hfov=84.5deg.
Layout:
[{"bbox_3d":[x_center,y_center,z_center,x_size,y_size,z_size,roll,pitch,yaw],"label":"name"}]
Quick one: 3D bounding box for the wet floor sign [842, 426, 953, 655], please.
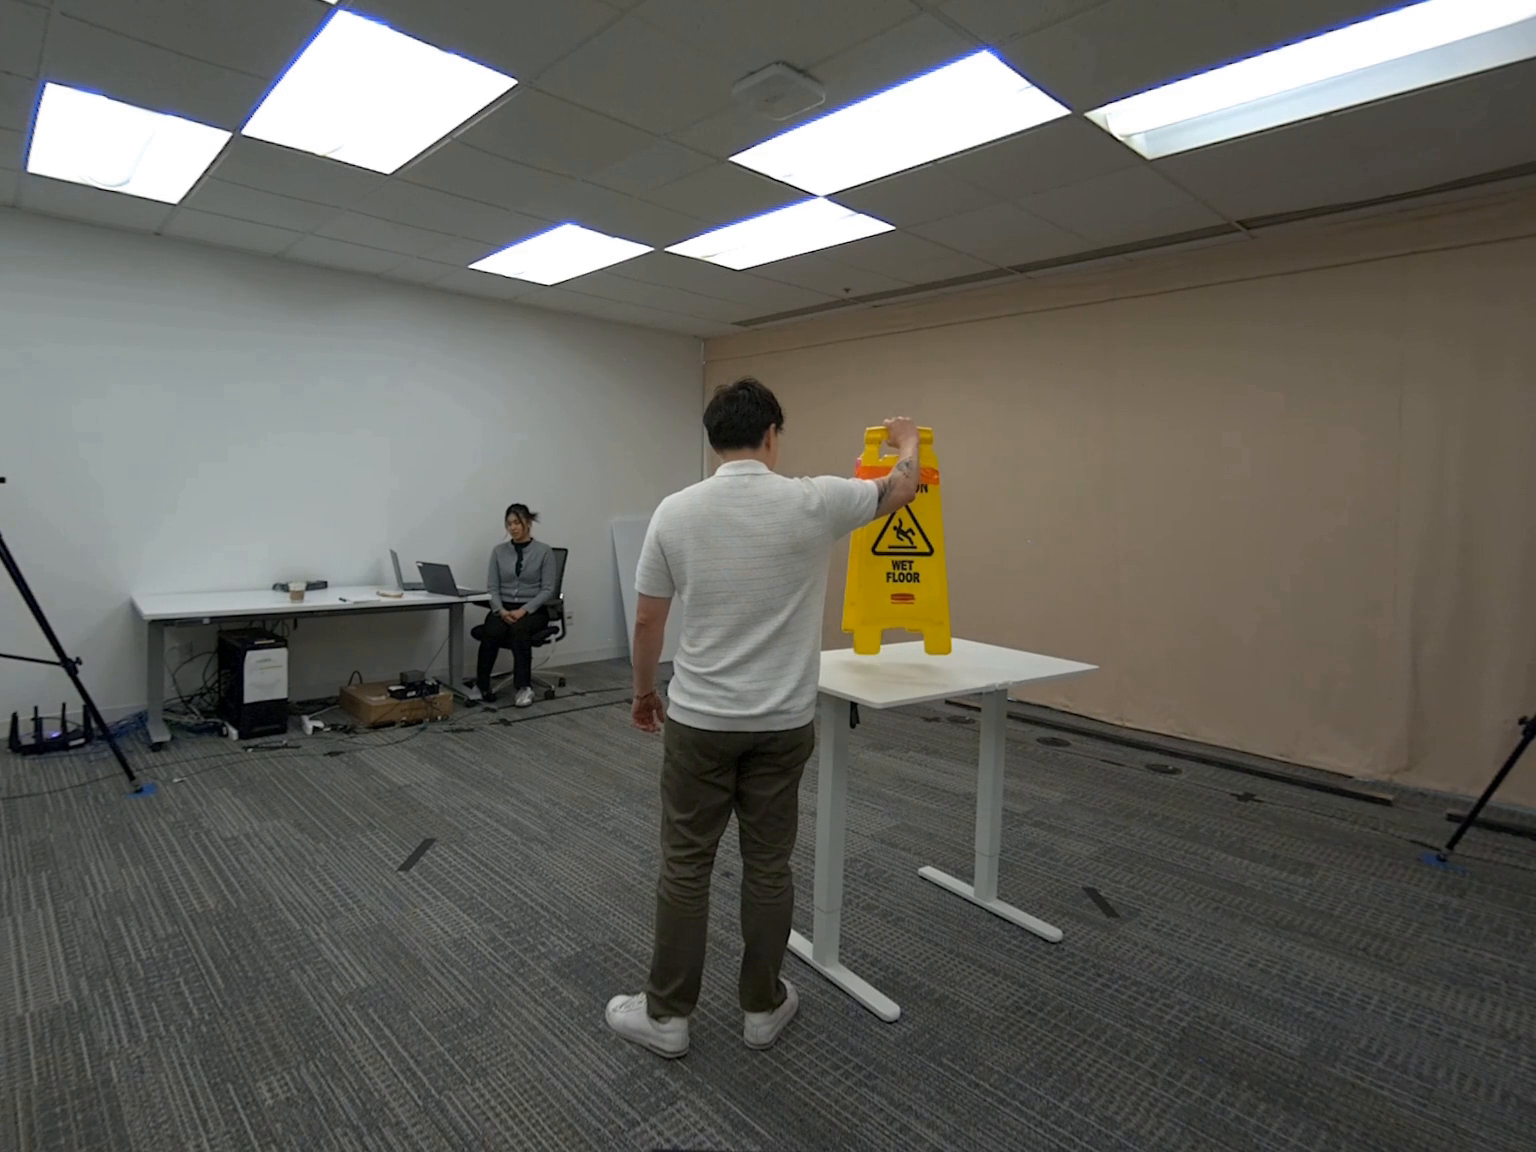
[{"bbox_3d":[0.370,-0.112,2.501,0.282,0.643,0.291,1,6,-1],"label":"wet floor sign"}]
